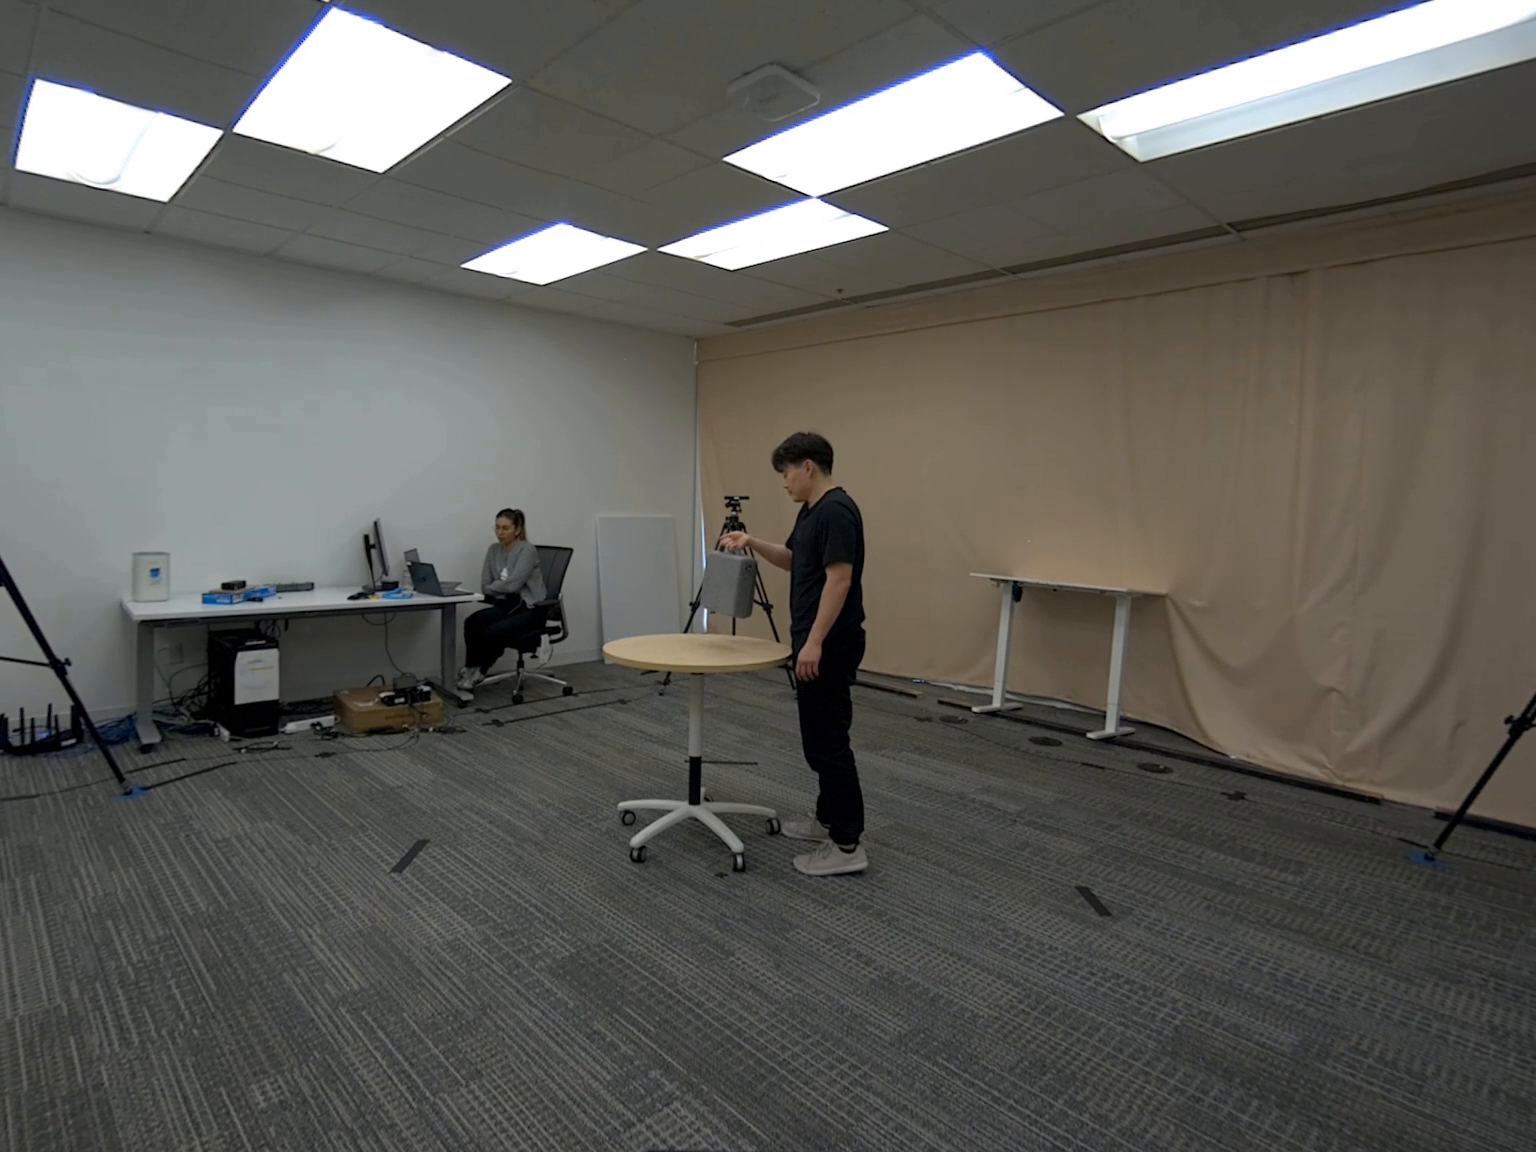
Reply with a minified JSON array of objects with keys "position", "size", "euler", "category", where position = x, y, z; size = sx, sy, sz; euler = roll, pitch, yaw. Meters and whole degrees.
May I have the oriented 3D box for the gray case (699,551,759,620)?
[{"position":[-0.166,0.035,3.470],"size":[0.102,0.260,0.264],"euler":[4,5,-38],"category":"gray case"}]
